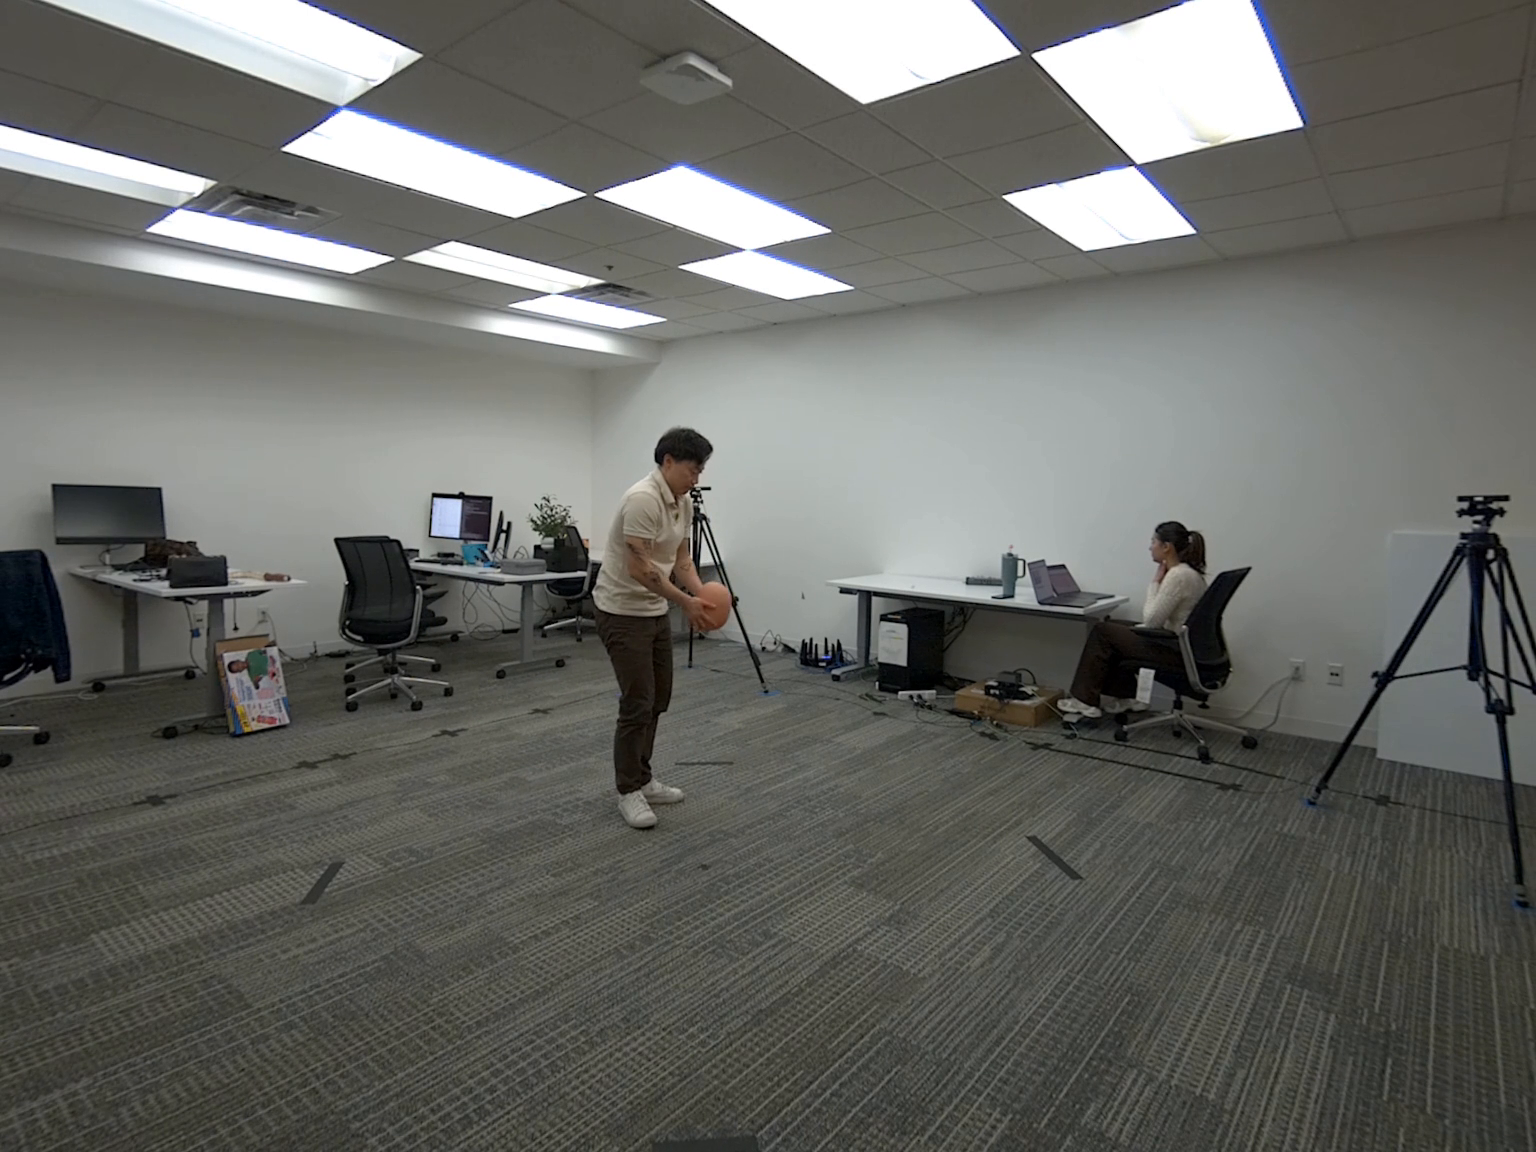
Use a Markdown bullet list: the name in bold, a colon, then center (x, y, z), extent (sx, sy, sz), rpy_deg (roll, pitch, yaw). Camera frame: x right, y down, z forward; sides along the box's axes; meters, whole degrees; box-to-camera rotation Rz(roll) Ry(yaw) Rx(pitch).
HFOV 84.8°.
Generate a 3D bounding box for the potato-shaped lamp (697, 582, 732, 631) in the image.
- **potato-shaped lamp**: center (-0.246, 0.109, 3.550), extent (0.170, 0.197, 0.167), rpy_deg (15, 8, -8)
